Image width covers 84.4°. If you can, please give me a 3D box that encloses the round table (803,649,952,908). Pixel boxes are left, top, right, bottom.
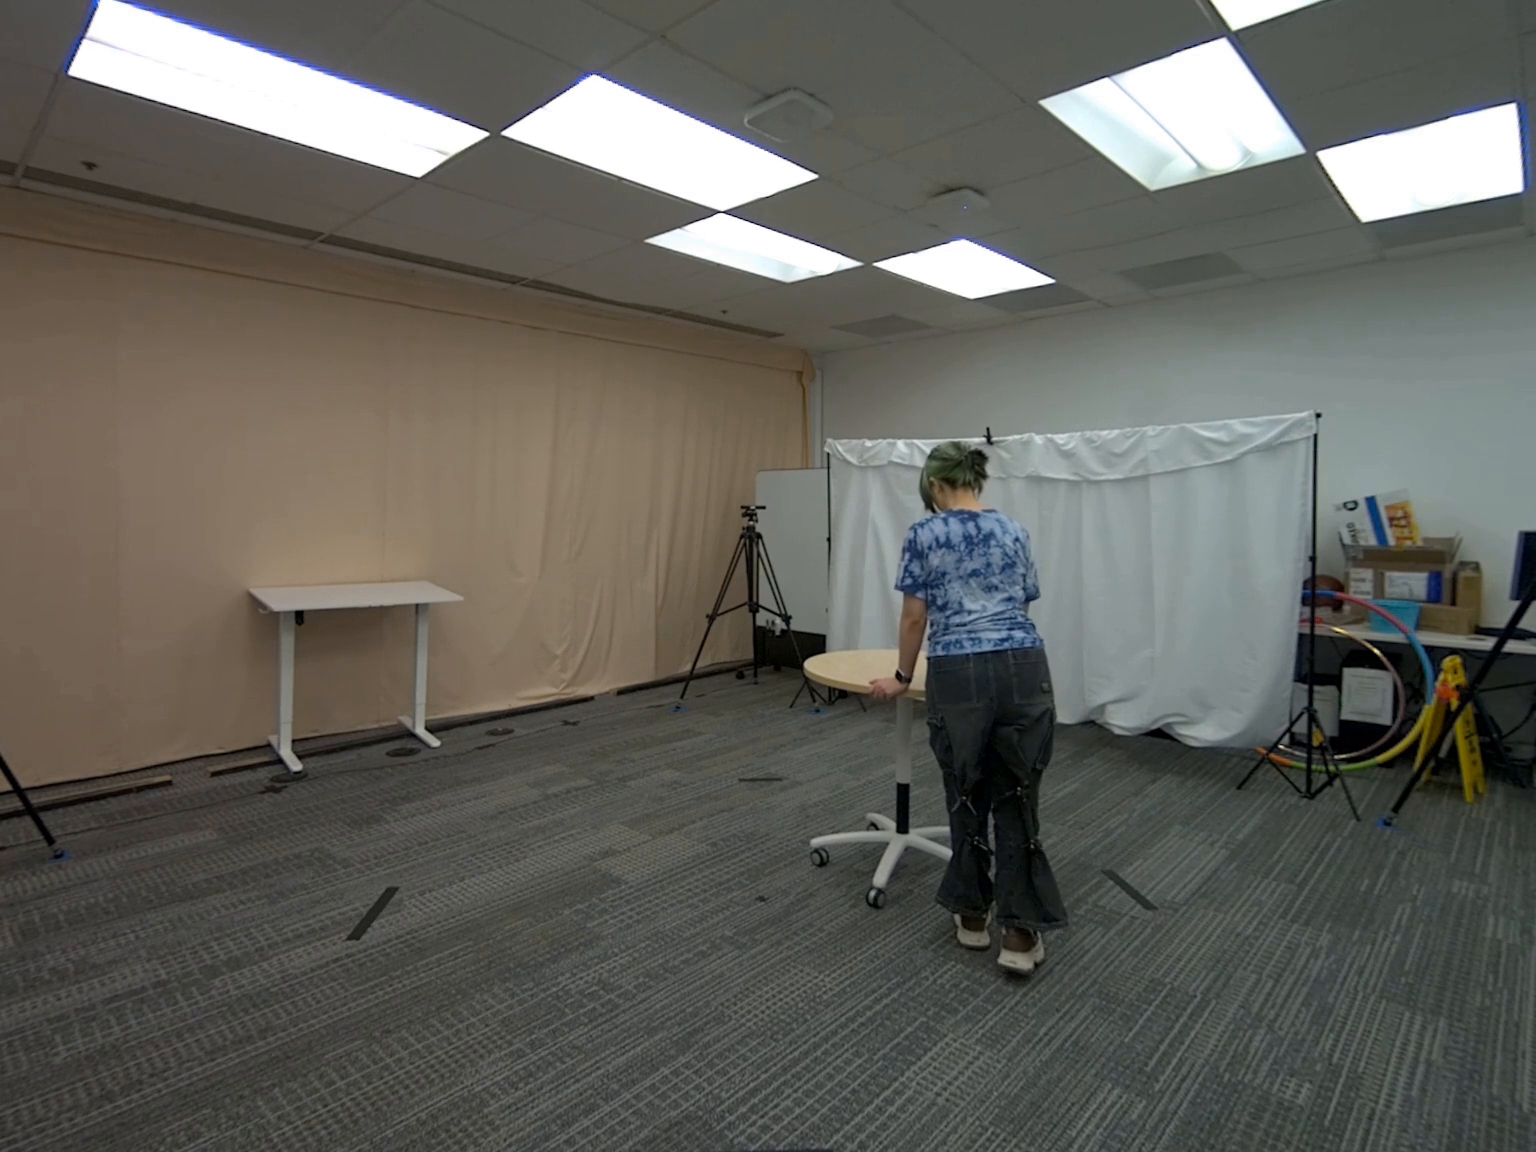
[{"bbox_3d":[0.521,0.735,3.212,0.763,0.792,0.767,0,4,-2],"label":"round table"}]
